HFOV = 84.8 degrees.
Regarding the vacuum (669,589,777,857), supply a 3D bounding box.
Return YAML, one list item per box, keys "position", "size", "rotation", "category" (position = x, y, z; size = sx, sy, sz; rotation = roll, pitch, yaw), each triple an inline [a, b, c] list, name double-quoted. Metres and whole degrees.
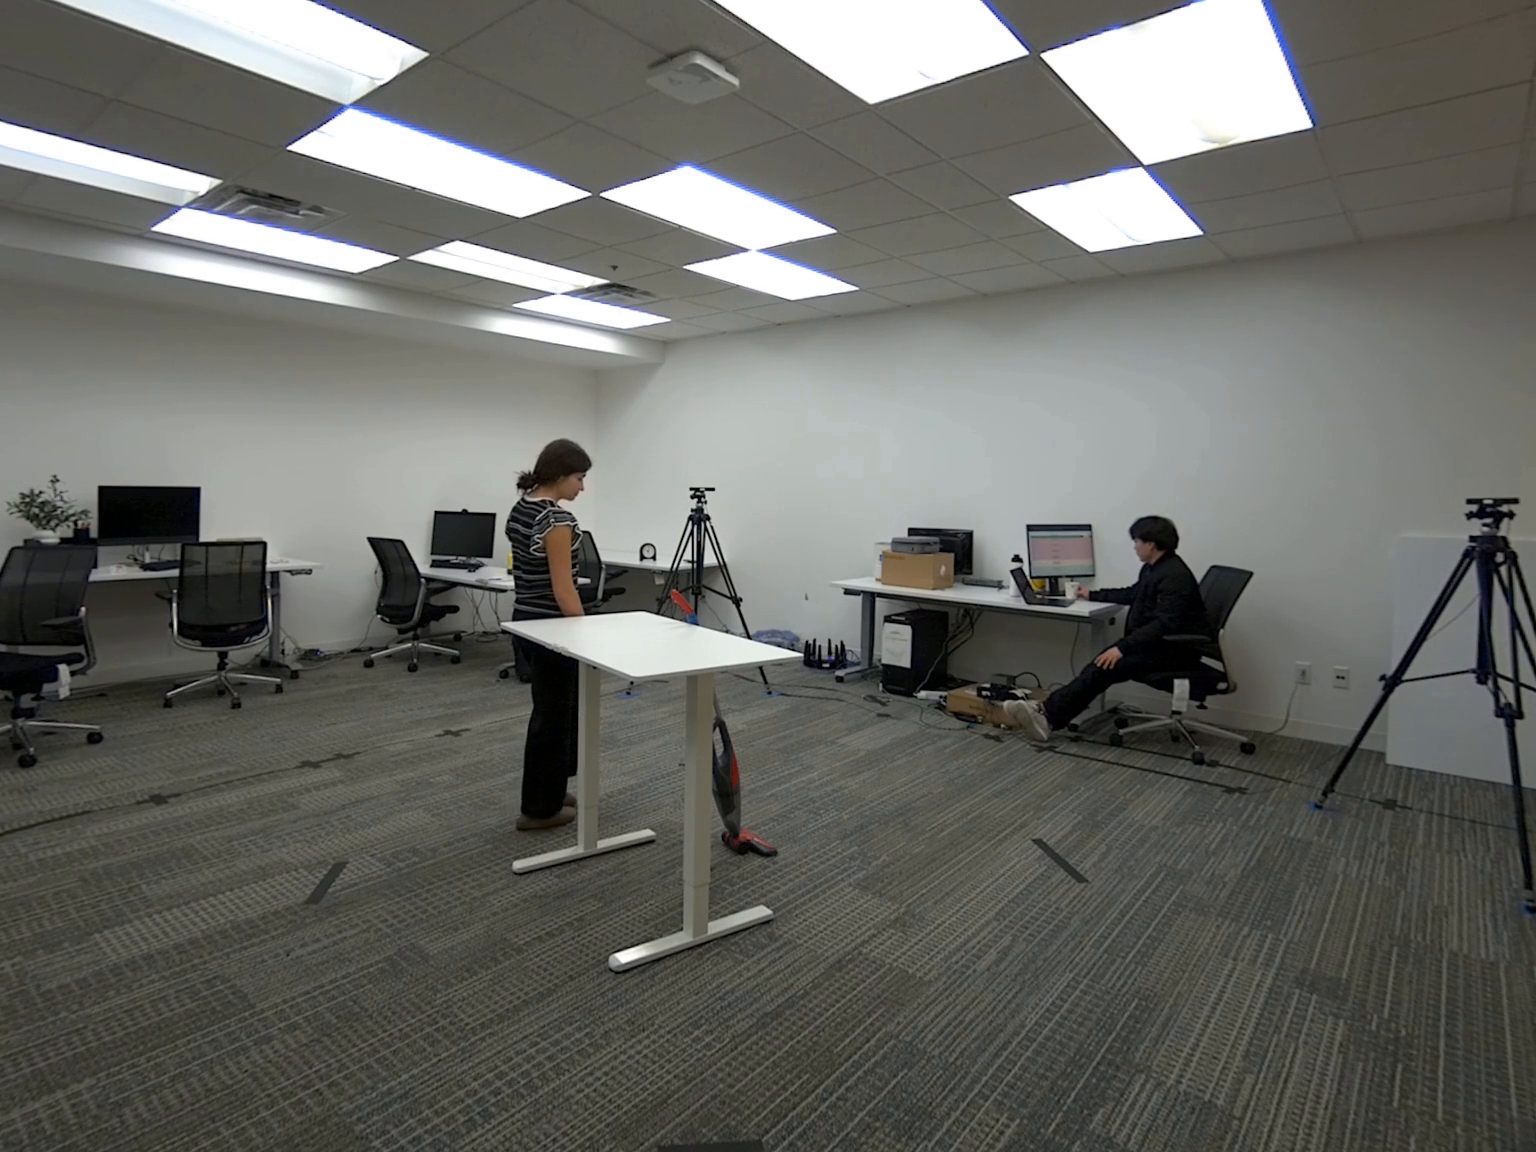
- position: [-0.214, 0.563, 3.225]
  size: [0.141, 1.037, 0.260]
  rotation: [-19, 11, -28]
  category: "vacuum"
